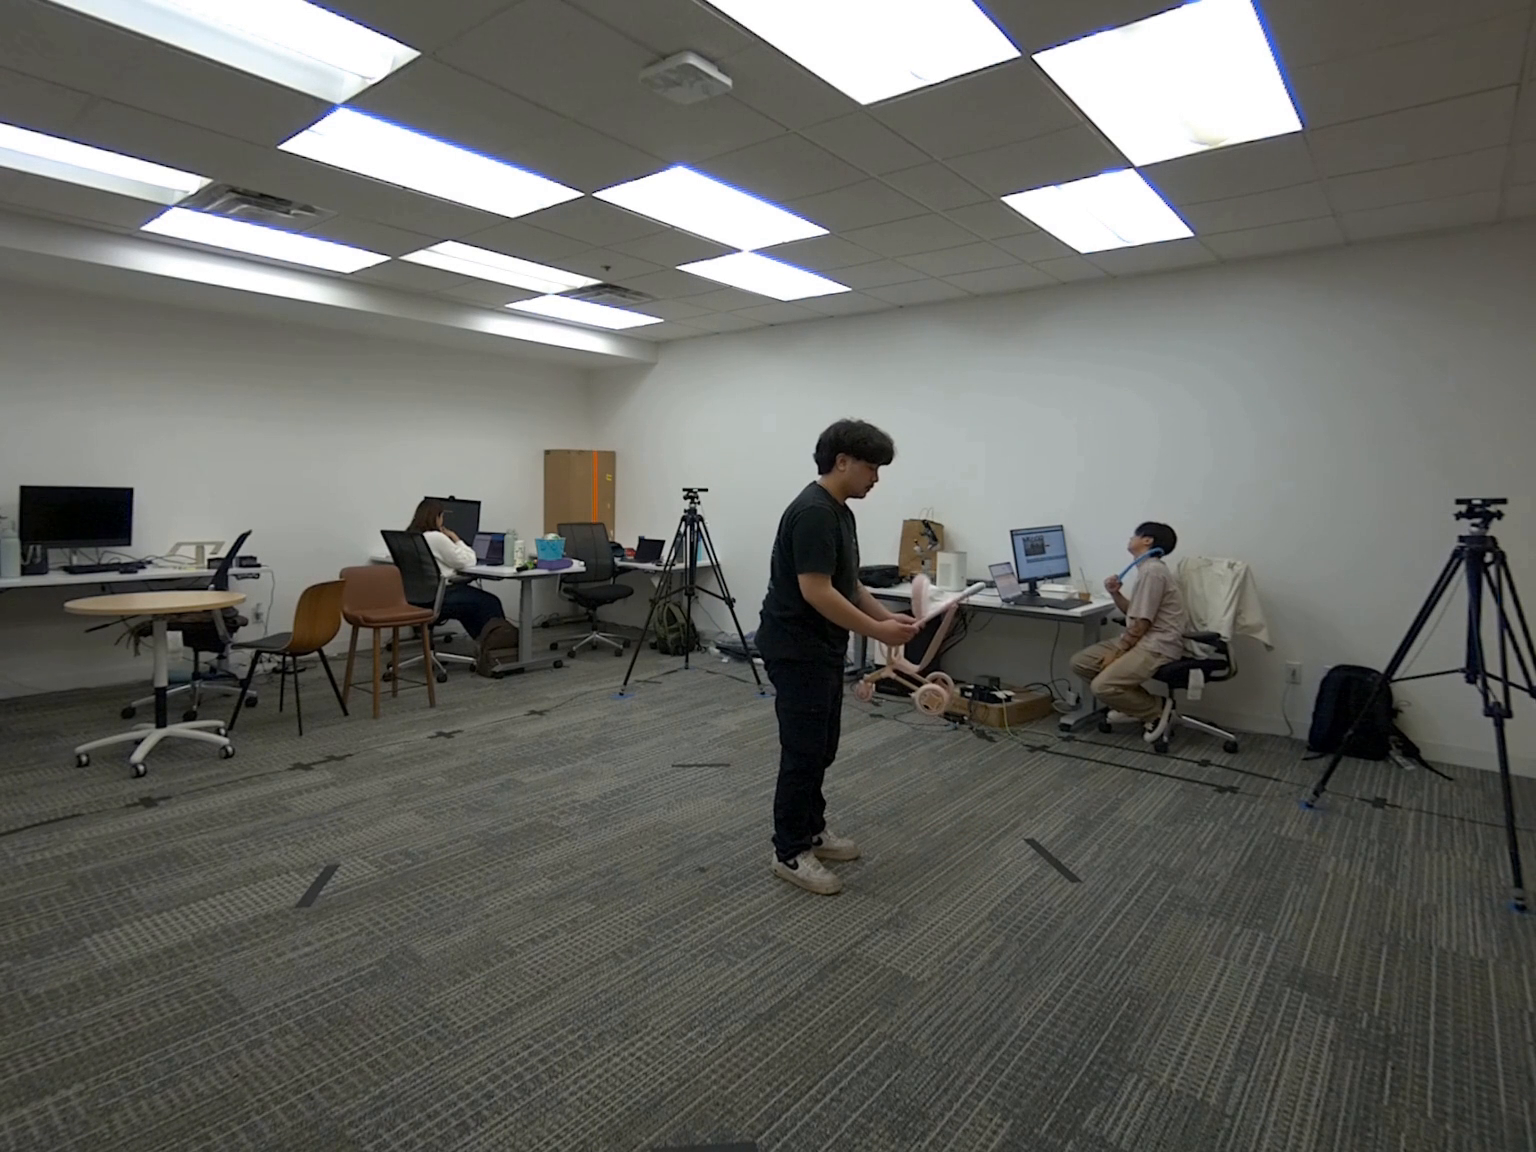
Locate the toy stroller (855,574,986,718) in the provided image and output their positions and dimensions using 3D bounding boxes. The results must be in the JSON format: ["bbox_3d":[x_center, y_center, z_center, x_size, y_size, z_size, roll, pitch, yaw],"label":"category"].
[{"bbox_3d":[0.523,0.243,3.009,0.351,0.532,0.275,17,7,22],"label":"toy stroller"}]
